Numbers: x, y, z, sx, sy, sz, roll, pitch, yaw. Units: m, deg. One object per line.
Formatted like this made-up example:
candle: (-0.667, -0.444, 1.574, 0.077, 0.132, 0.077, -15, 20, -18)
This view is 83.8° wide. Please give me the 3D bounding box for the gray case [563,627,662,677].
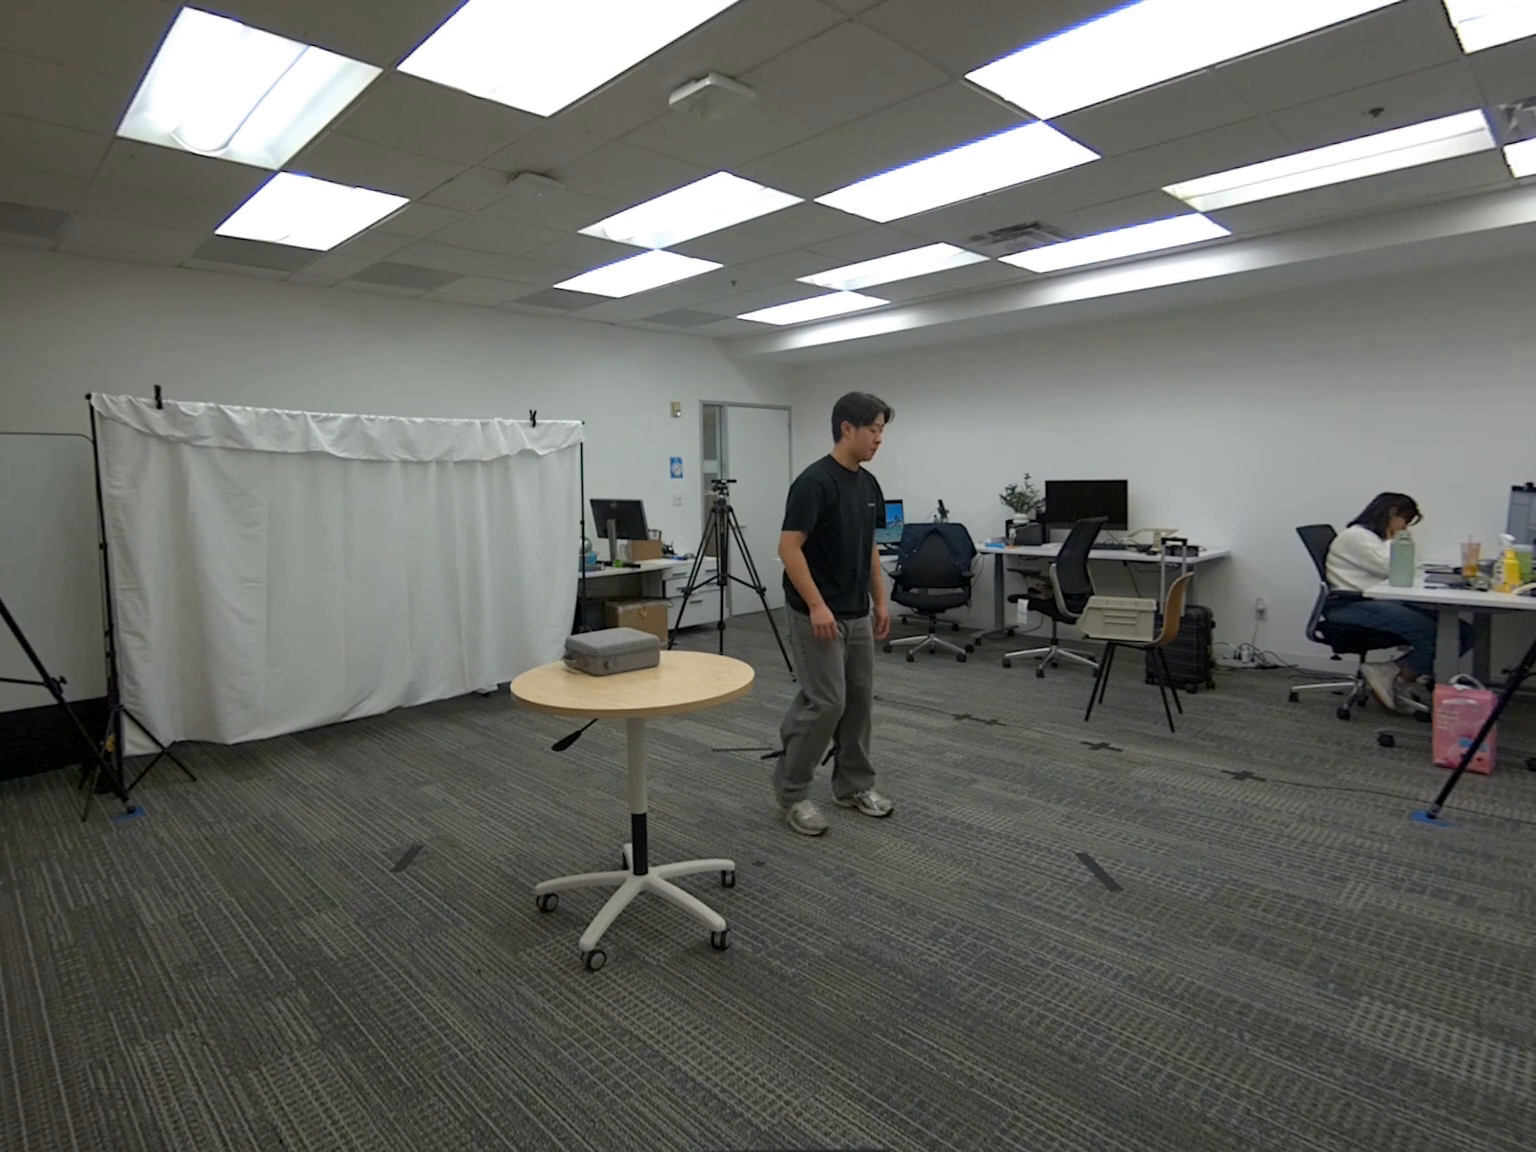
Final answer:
gray case: (-0.533, 0.252, 2.856, 0.280, 0.102, 0.271, -7, 9, -34)
